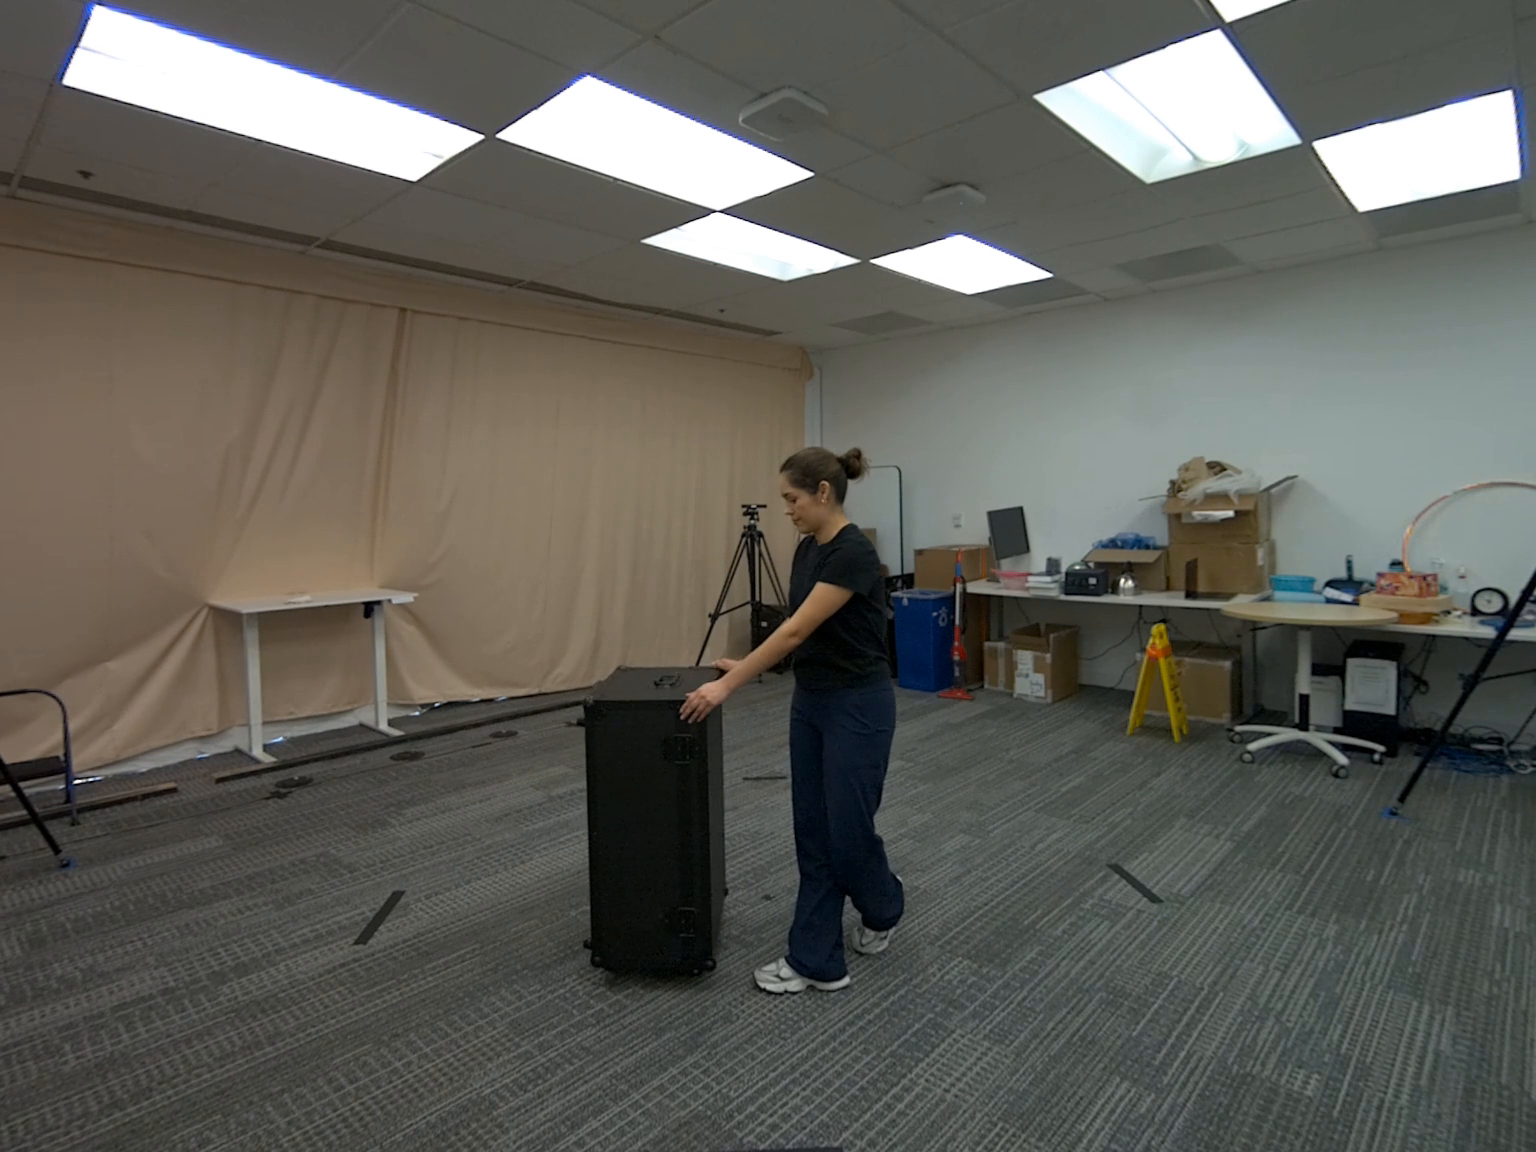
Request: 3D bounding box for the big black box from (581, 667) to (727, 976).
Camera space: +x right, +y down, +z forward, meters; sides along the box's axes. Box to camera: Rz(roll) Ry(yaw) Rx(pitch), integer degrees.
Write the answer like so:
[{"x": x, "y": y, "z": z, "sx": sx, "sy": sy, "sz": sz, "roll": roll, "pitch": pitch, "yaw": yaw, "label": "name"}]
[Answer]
[{"x": -0.327, "y": 0.752, "z": 2.627, "sx": 0.398, "sy": 0.859, "sz": 0.520, "roll": 0, "pitch": 3, "yaw": 3, "label": "big black box"}]
